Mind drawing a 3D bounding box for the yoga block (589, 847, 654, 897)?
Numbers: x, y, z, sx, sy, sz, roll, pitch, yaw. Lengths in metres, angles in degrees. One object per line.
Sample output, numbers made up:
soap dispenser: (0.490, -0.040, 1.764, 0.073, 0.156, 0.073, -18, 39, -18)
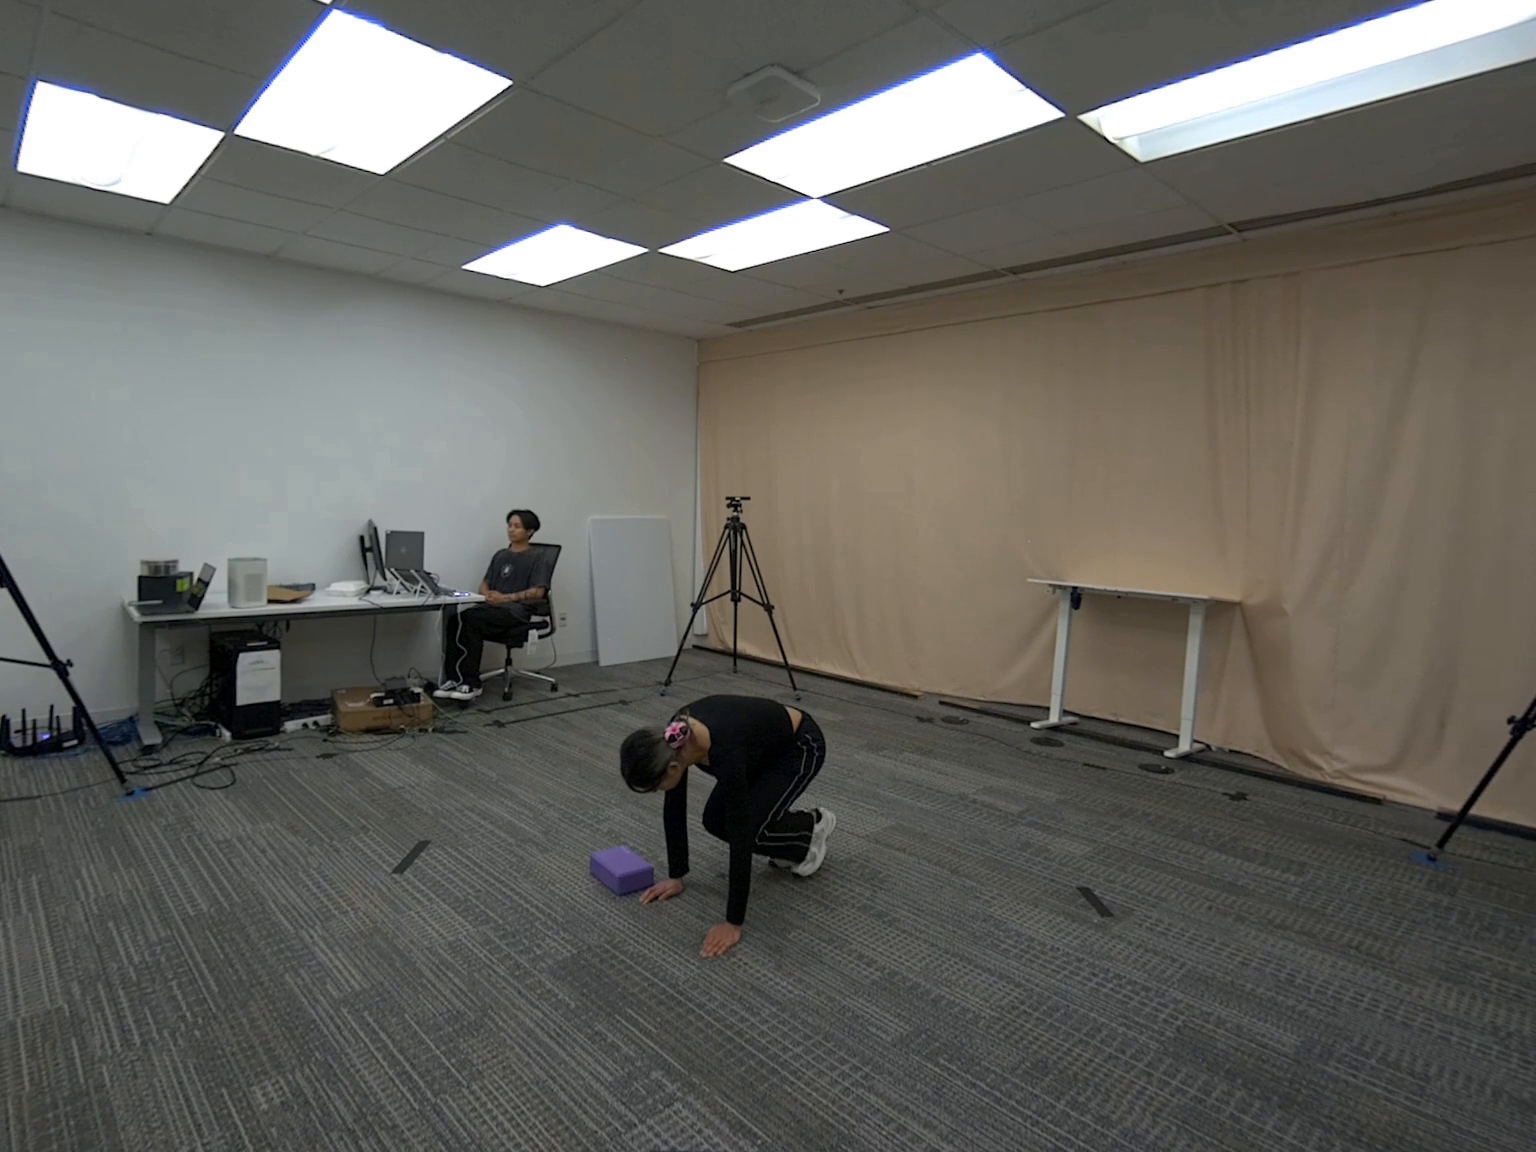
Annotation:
yoga block: (-0.536, 1.059, 3.053, 0.146, 0.076, 0.235, -3, 6, -38)
